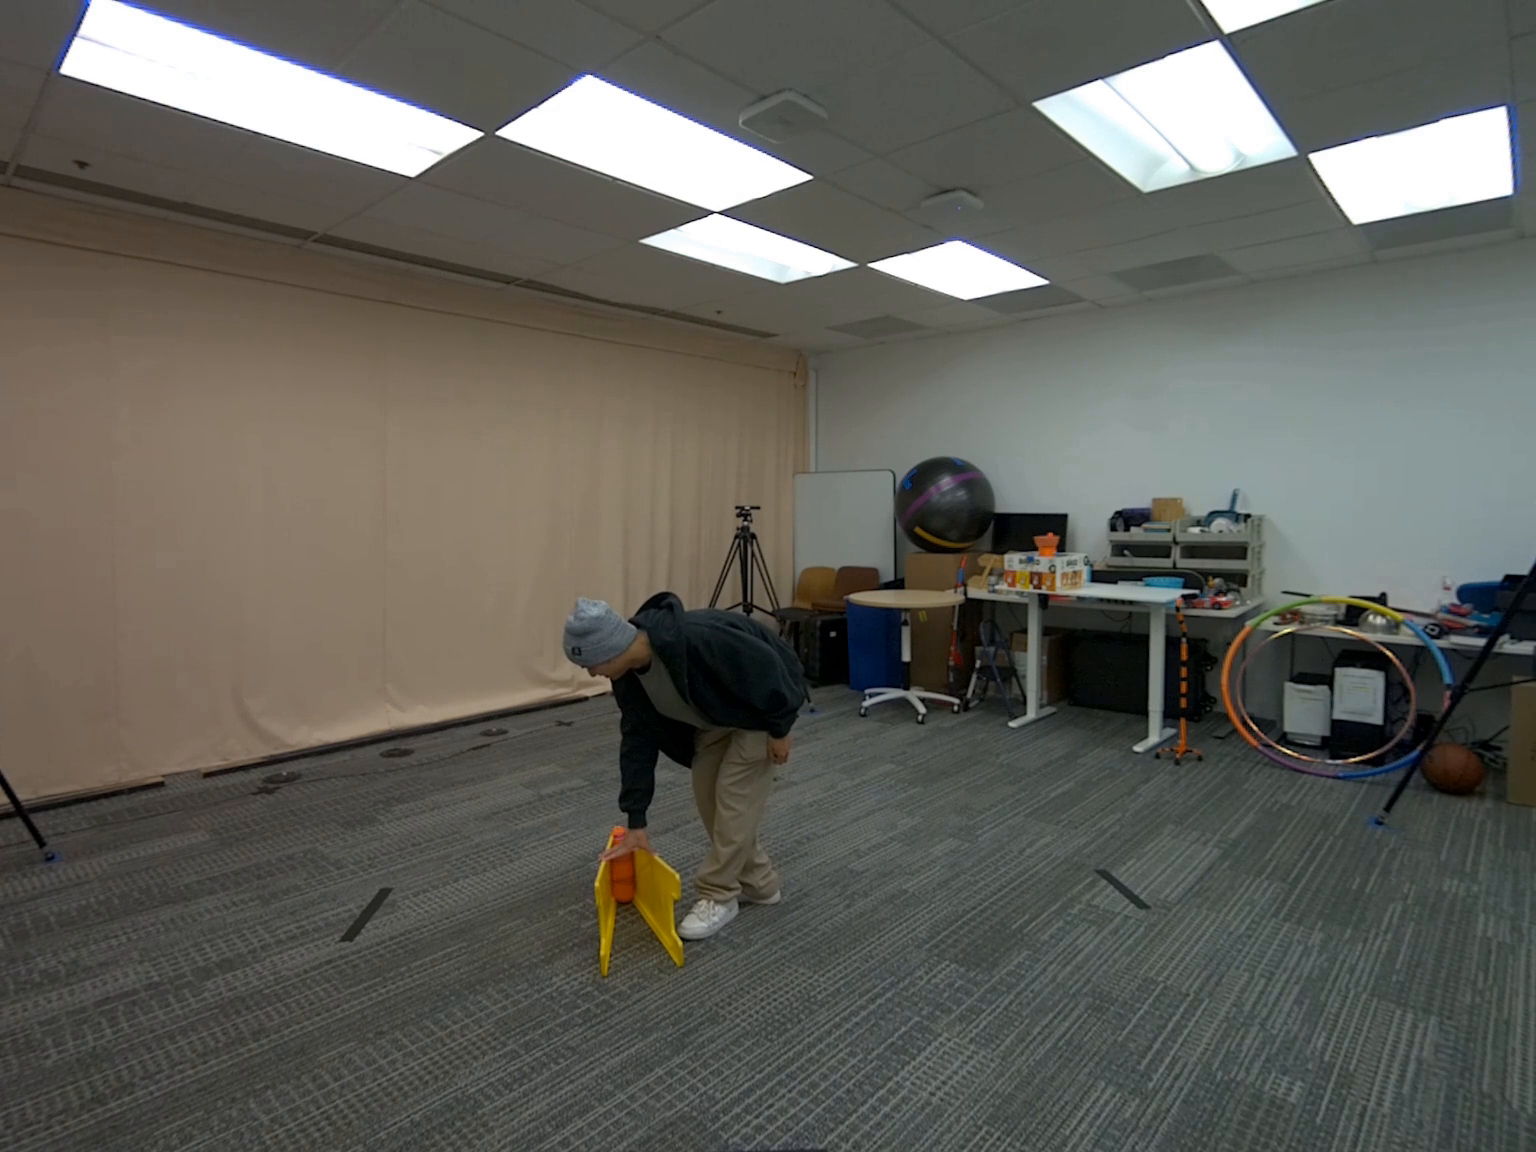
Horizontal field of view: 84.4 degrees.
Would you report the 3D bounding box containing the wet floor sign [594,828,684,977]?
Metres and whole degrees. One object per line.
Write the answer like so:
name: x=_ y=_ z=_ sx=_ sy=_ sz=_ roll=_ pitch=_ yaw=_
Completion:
wet floor sign: x=-0.479 y=1.038 z=2.821 sx=0.285 sy=0.282 sz=0.656 roll=-3 pitch=2 yaw=-15
